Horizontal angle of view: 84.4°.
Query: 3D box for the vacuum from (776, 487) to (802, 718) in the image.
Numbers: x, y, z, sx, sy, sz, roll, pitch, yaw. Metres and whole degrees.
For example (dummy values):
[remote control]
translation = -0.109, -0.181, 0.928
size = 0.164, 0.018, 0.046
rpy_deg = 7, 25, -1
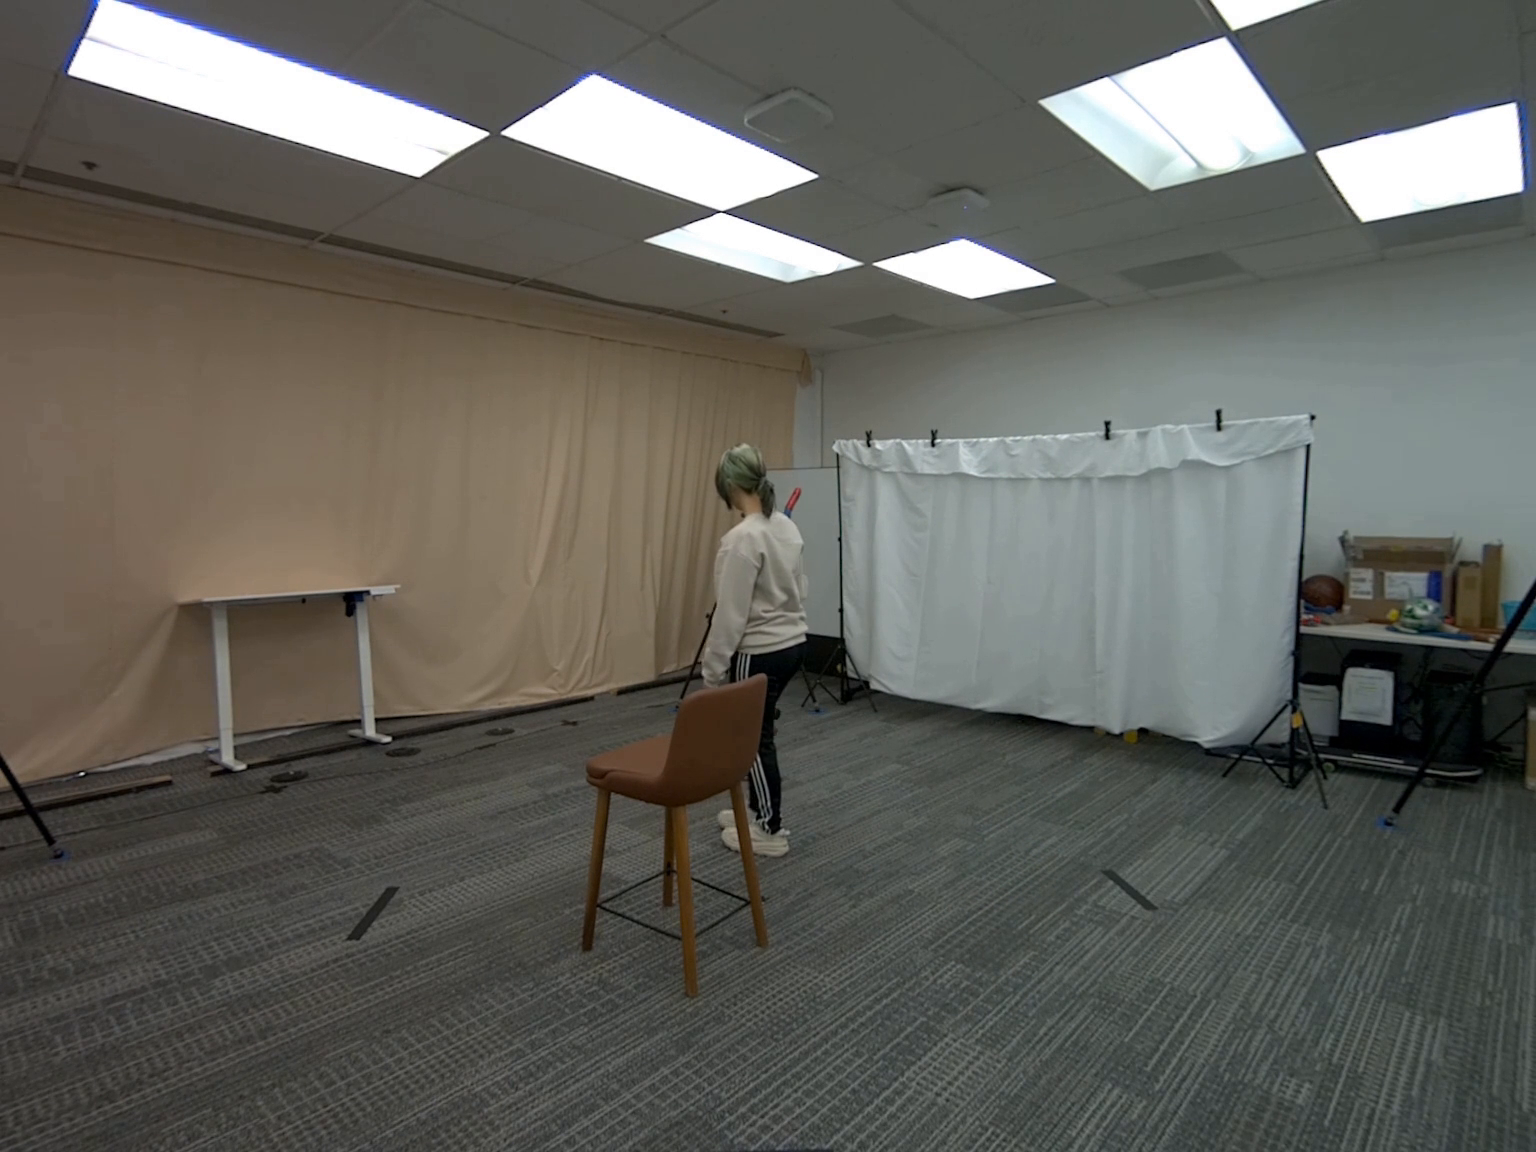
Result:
[vacuum]
translation = 0.050, 0.137, 3.781
size = 0.261, 1.047, 0.139
rpy_deg = 11, 4, 36
